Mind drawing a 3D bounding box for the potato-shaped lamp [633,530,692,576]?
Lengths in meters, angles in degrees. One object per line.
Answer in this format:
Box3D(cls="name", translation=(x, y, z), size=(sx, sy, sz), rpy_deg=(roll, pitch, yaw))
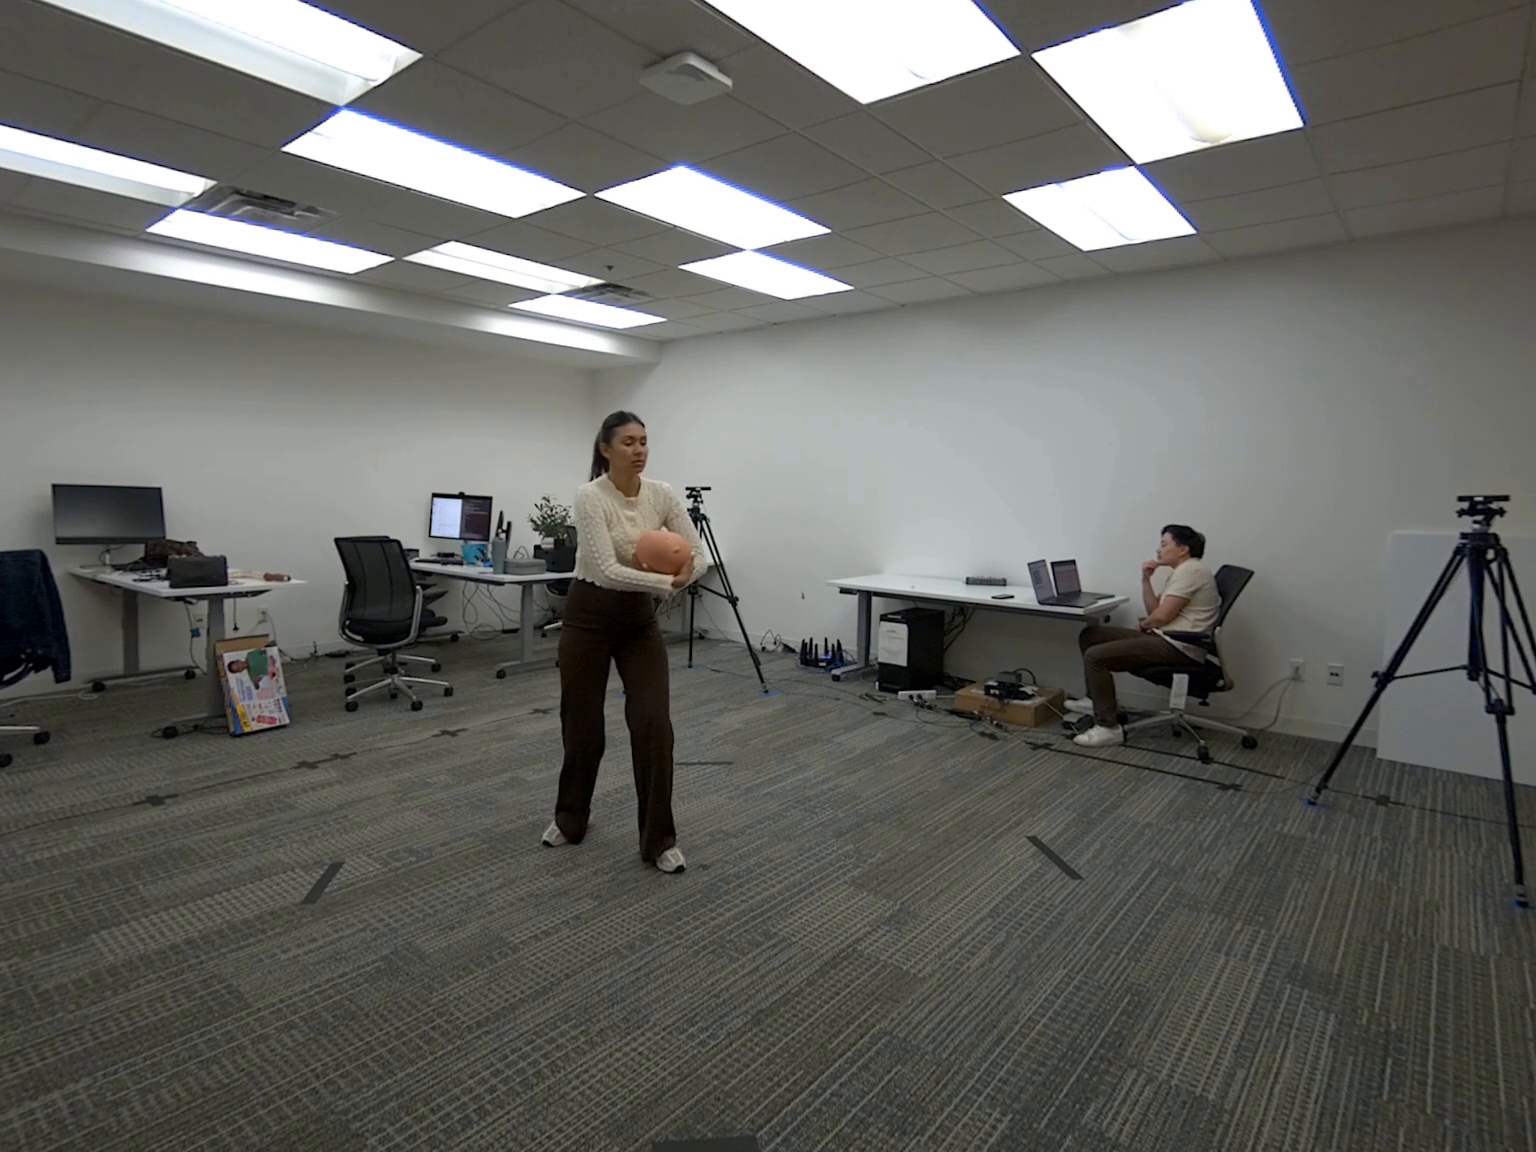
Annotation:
Box3D(cls="potato-shaped lamp", translation=(-0.403, -0.095, 3.044), size=(0.190, 0.171, 0.172), rpy_deg=(35, 9, -44))
